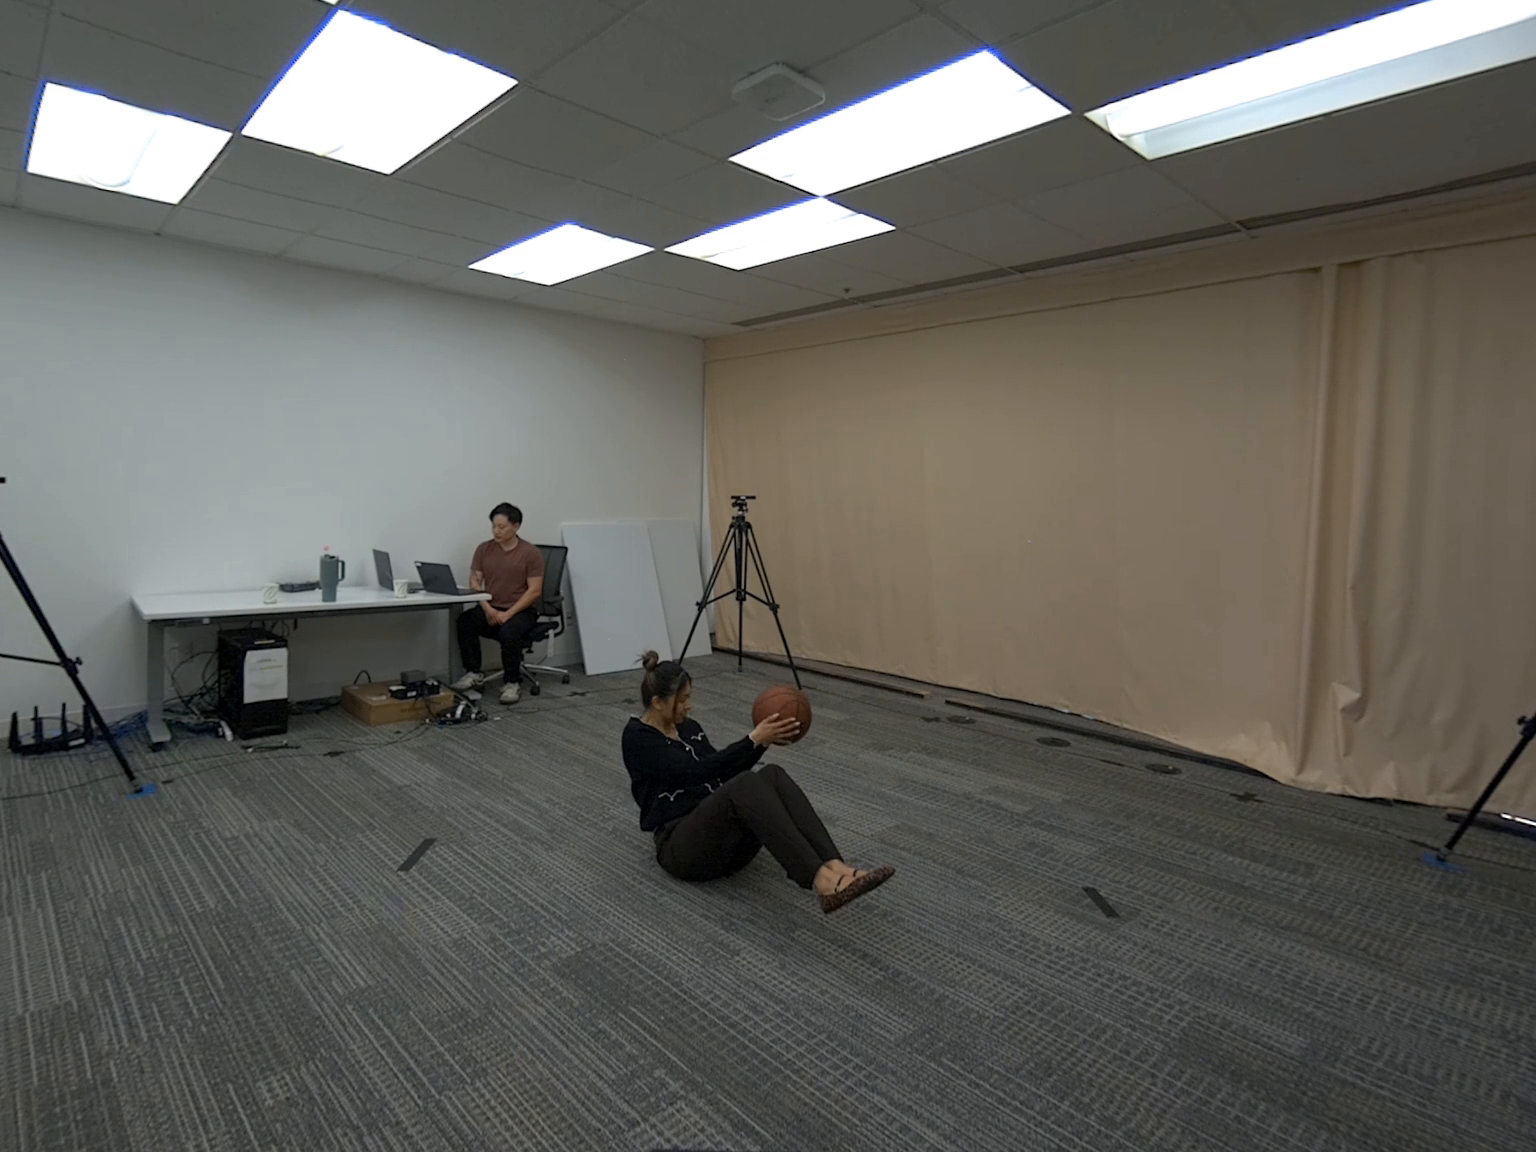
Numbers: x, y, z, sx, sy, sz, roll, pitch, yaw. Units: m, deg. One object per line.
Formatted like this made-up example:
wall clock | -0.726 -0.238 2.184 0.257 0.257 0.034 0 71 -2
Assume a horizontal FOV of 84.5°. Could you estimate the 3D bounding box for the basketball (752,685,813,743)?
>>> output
basketball | 0.035 0.550 3.294 0.236 0.235 0.237 1 4 -1
